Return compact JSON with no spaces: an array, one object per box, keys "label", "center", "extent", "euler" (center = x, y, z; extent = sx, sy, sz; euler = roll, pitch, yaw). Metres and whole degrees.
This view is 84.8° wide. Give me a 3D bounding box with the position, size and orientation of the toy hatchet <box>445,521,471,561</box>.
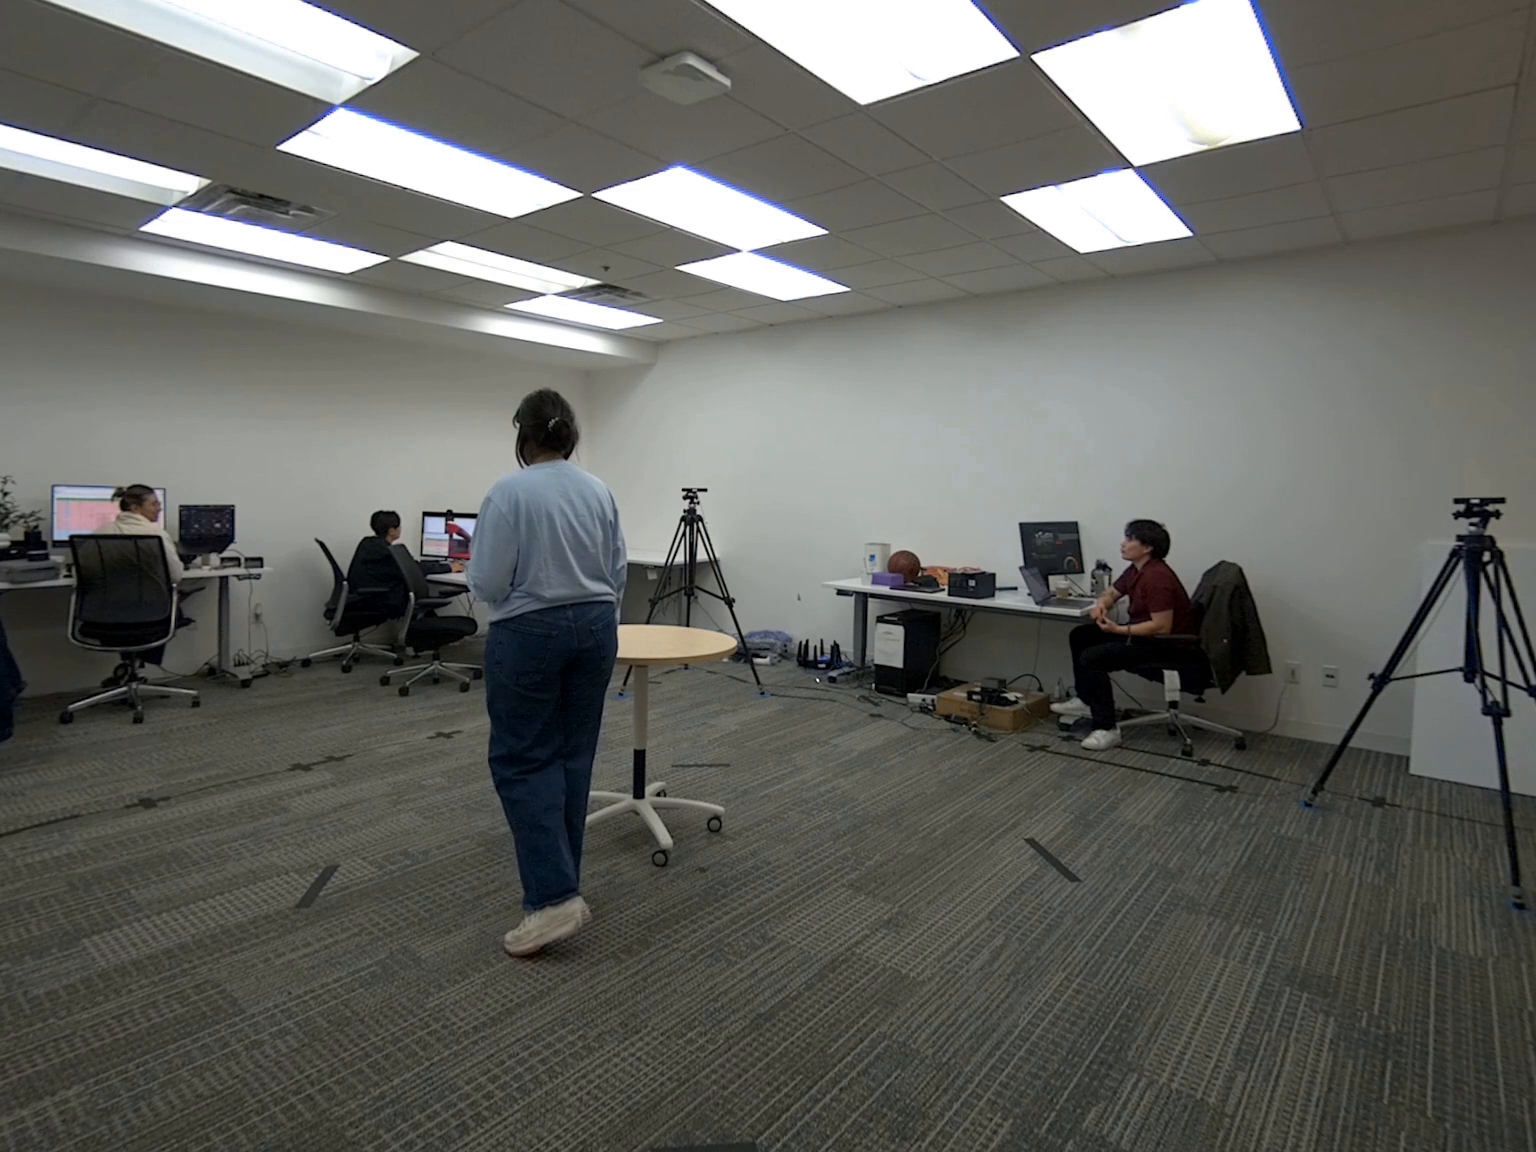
[{"label":"toy hatchet","center":[-0.984,-0.101,2.863],"extent":[0.271,0.029,0.130],"euler":[34,-10,2]}]
